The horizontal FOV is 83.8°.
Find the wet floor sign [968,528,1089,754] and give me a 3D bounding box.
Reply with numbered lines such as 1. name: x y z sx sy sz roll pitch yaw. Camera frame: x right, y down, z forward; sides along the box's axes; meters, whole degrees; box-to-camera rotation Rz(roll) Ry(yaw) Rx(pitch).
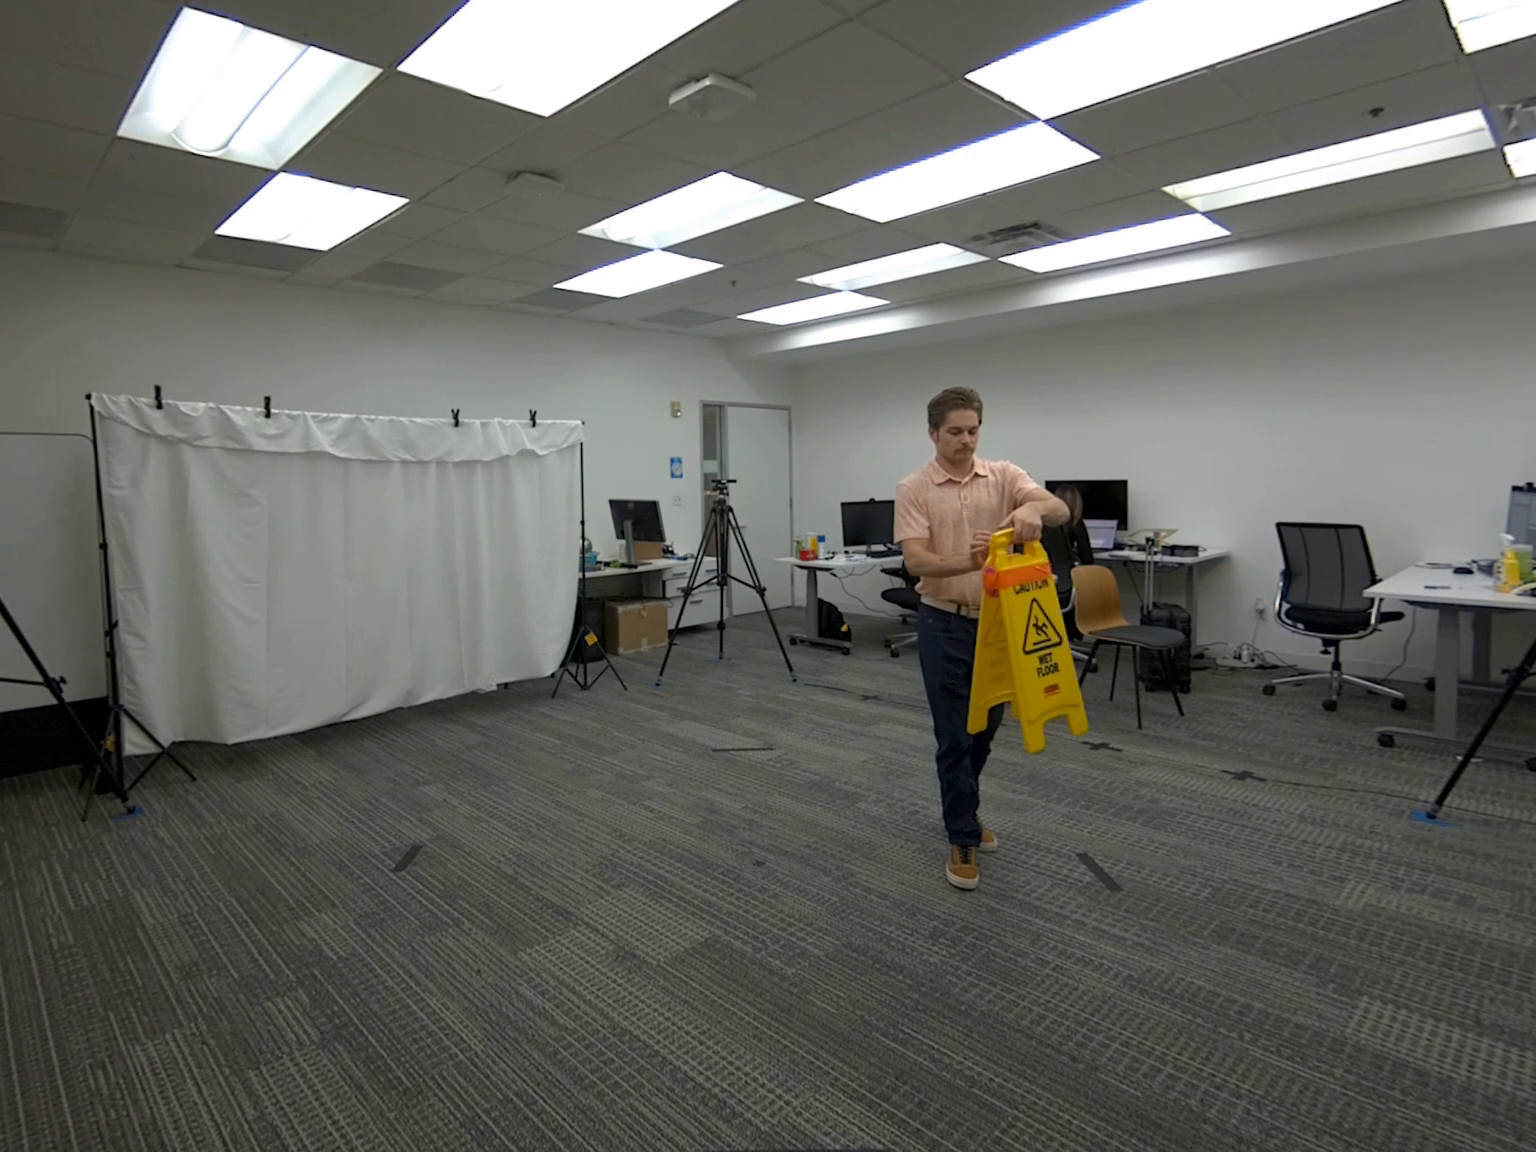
1. wet floor sign: 0.790 0.179 2.661 0.276 0.642 0.298 -9 8 -31
